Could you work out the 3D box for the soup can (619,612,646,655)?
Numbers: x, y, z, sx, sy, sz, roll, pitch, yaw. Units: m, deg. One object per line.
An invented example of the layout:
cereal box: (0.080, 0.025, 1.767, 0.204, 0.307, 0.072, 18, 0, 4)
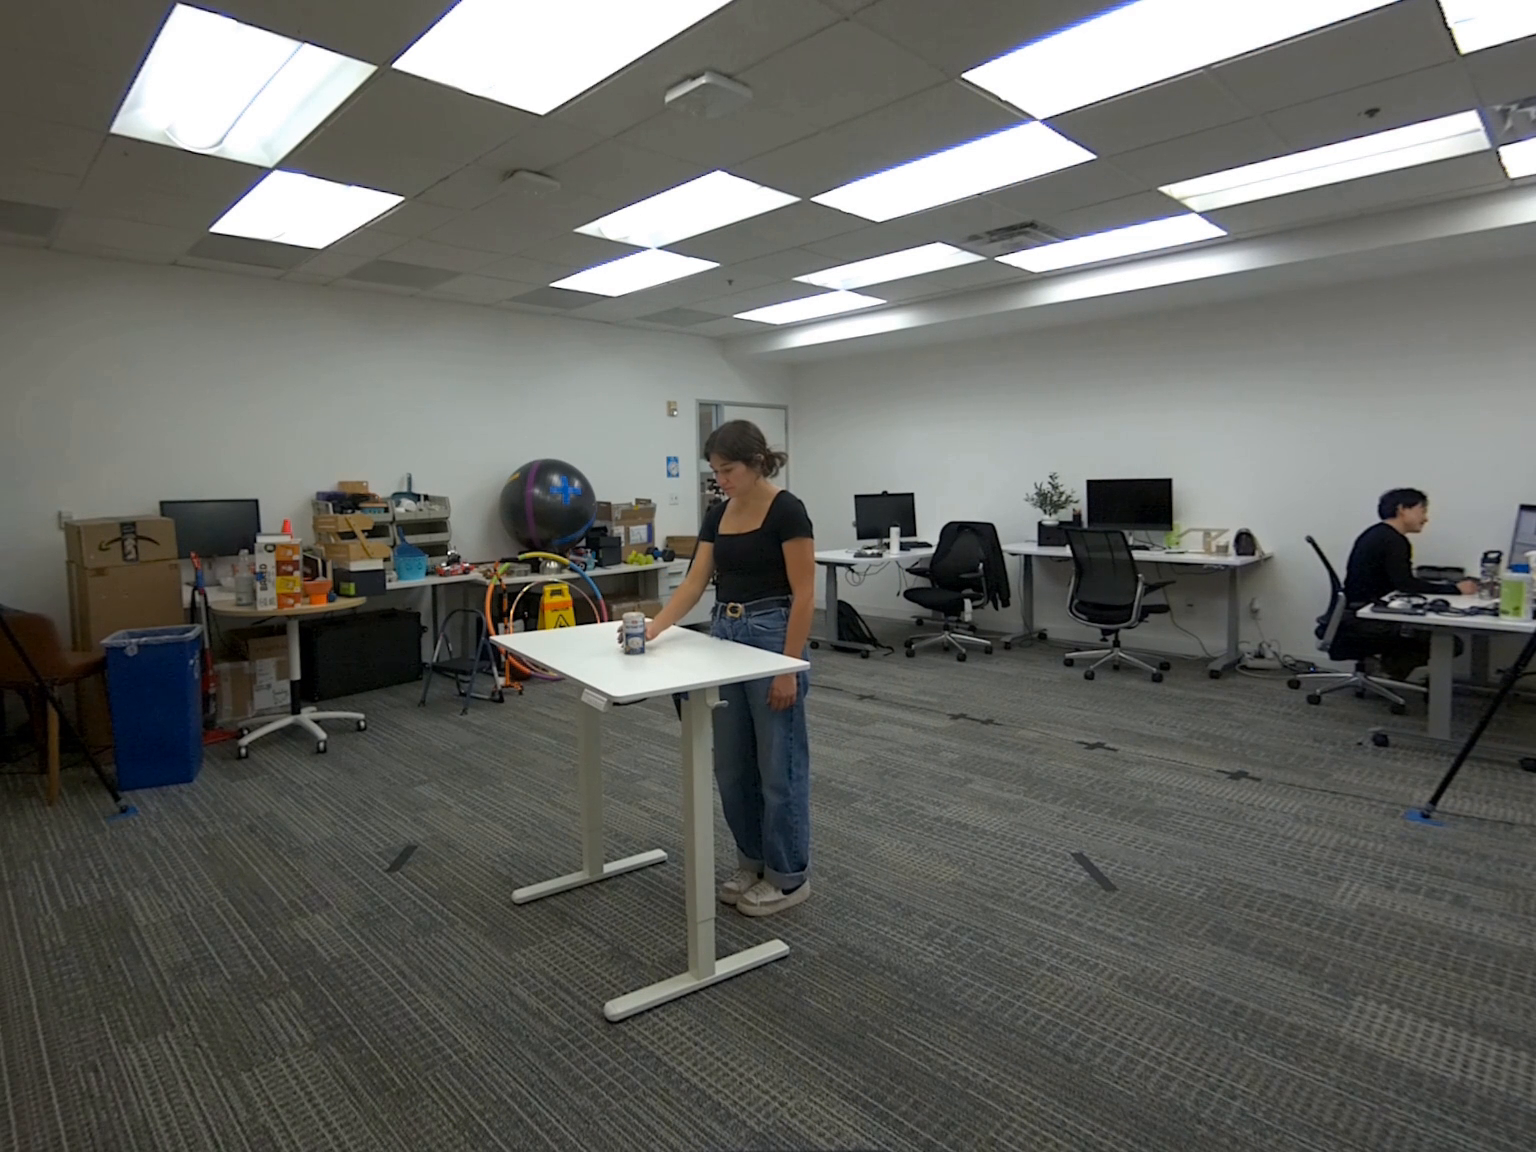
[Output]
soup can: (-0.401, 0.175, 2.562, 0.067, 0.121, 0.067, 2, 4, -2)
